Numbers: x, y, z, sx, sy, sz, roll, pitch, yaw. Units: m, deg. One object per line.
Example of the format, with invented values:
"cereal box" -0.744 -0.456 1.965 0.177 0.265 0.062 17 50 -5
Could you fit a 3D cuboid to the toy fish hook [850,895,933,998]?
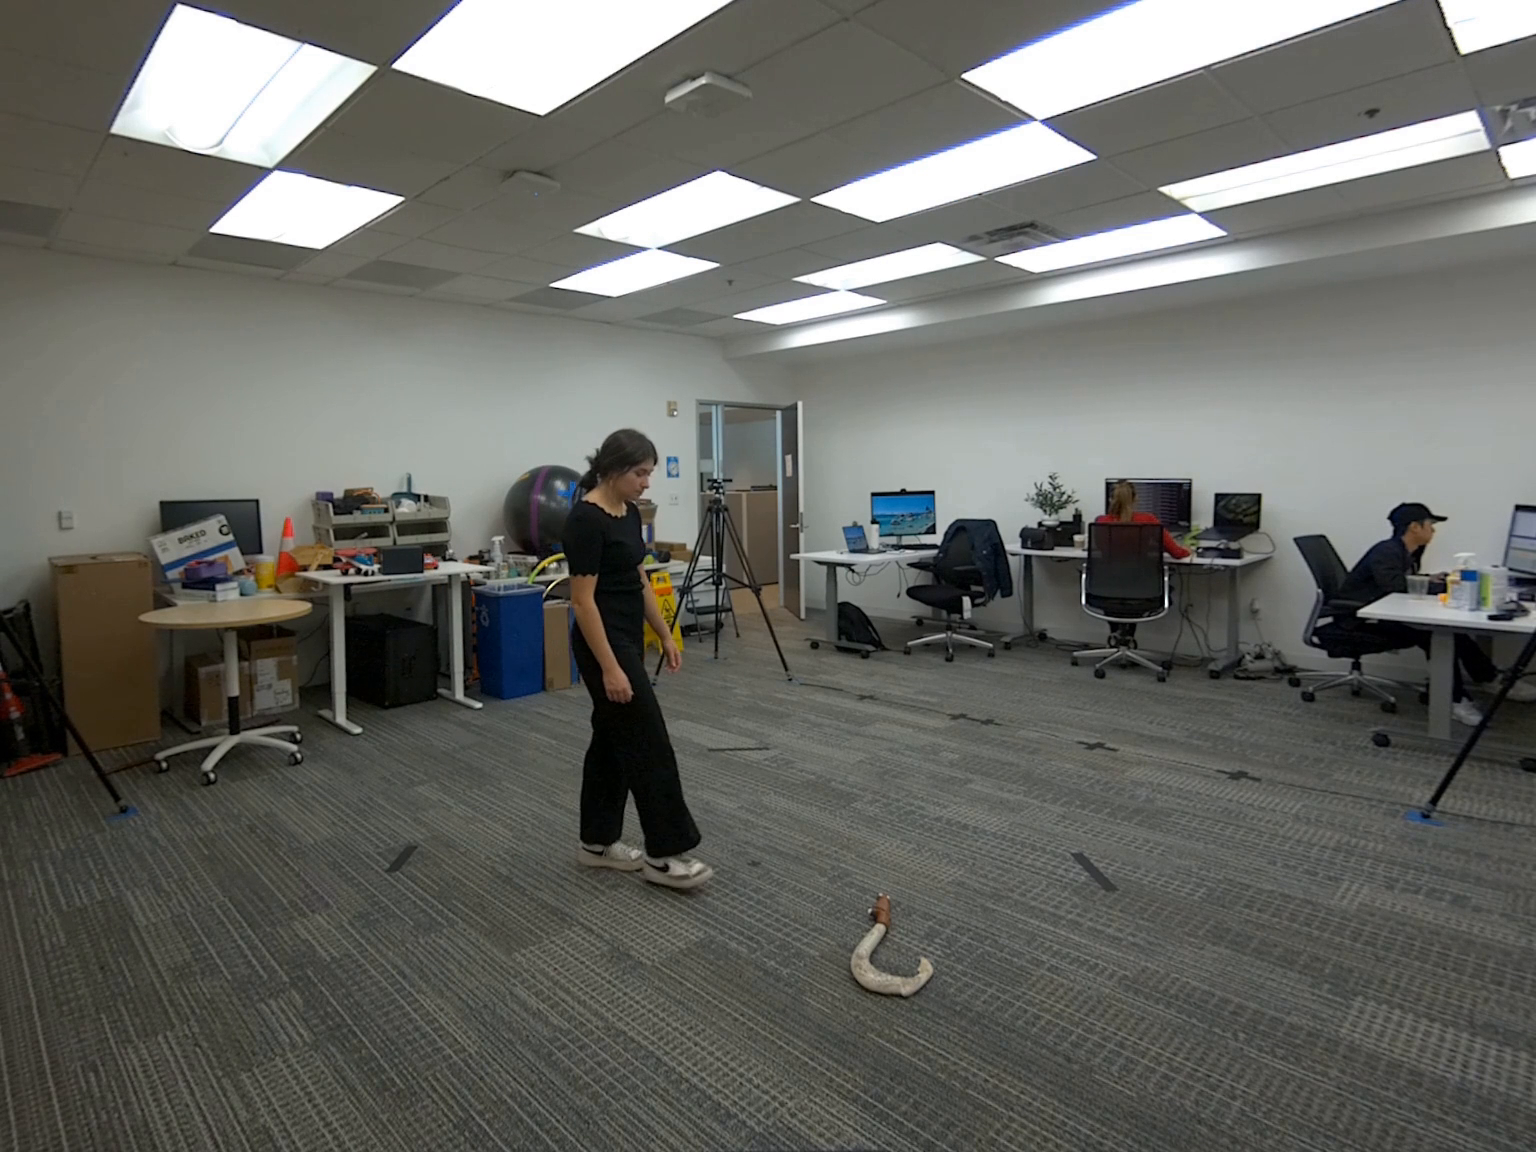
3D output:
"toy fish hook" 0.377 1.086 2.538 0.228 0.048 0.502 8 10 12
